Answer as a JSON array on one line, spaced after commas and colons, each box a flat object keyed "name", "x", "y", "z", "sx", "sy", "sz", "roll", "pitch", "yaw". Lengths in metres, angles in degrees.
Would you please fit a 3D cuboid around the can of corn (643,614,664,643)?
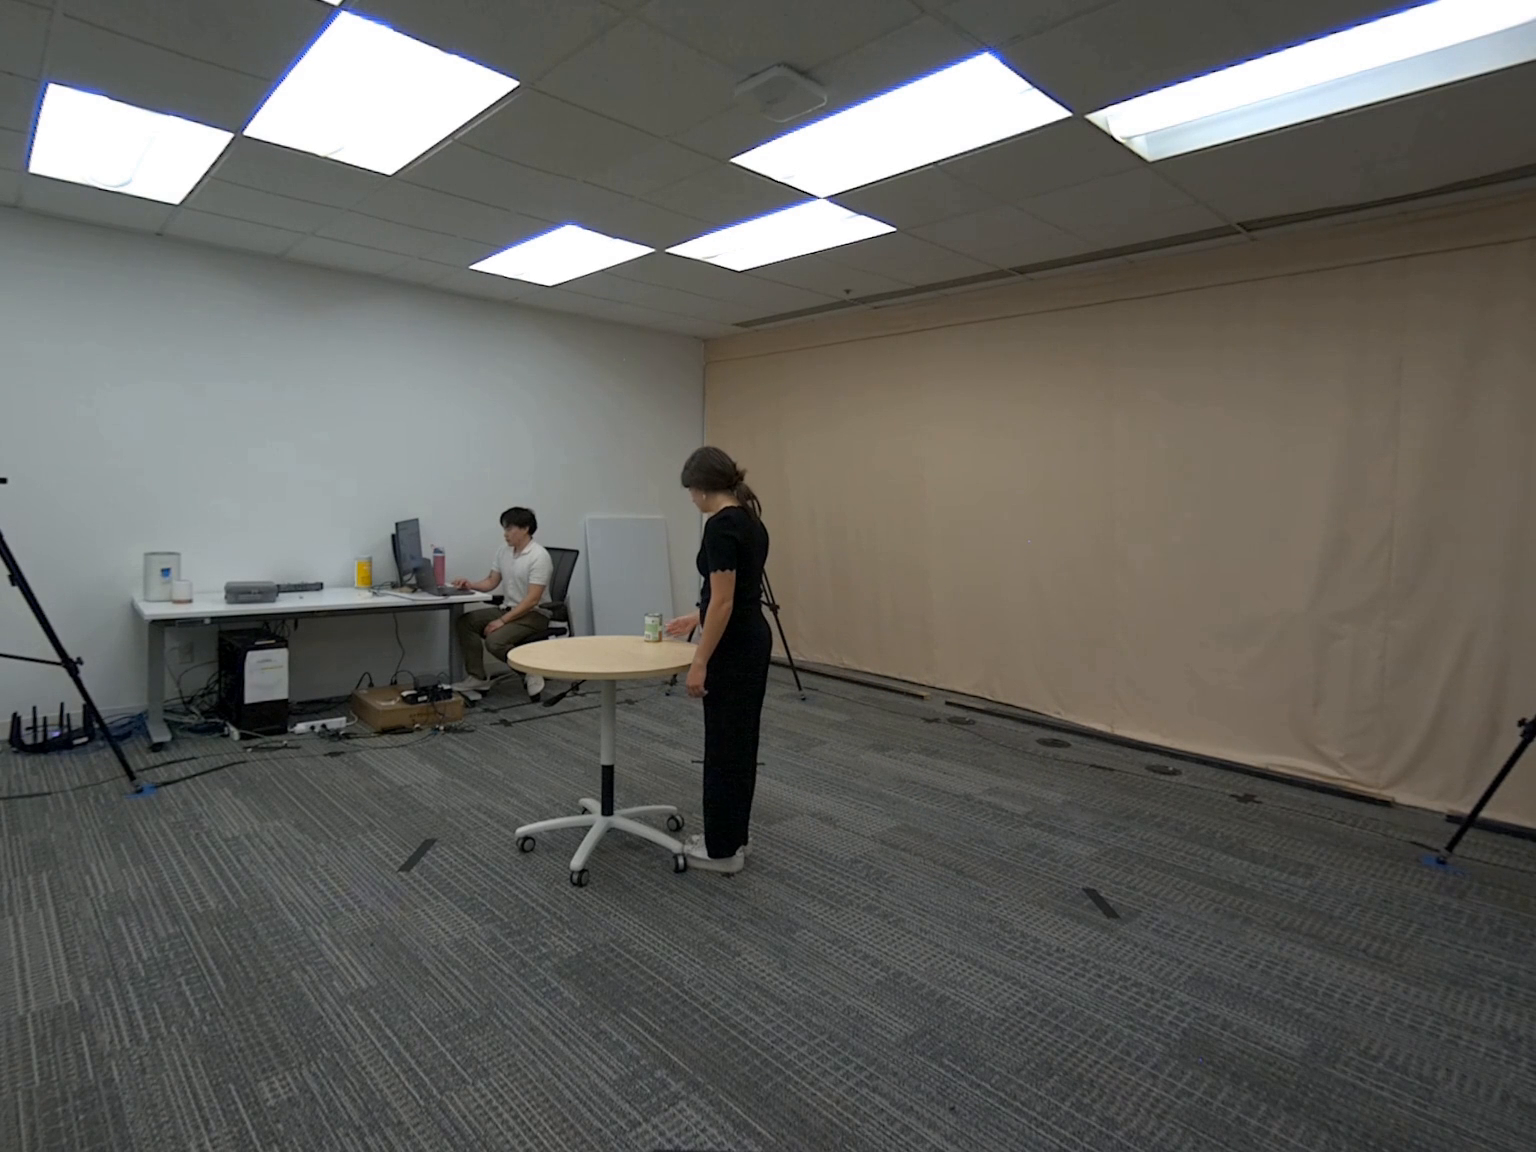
[{"name": "can of corn", "x": -0.489, "y": 0.219, "z": 3.522, "sx": 0.074, "sy": 0.111, "sz": 0.074, "roll": 1, "pitch": 1, "yaw": -1}]
